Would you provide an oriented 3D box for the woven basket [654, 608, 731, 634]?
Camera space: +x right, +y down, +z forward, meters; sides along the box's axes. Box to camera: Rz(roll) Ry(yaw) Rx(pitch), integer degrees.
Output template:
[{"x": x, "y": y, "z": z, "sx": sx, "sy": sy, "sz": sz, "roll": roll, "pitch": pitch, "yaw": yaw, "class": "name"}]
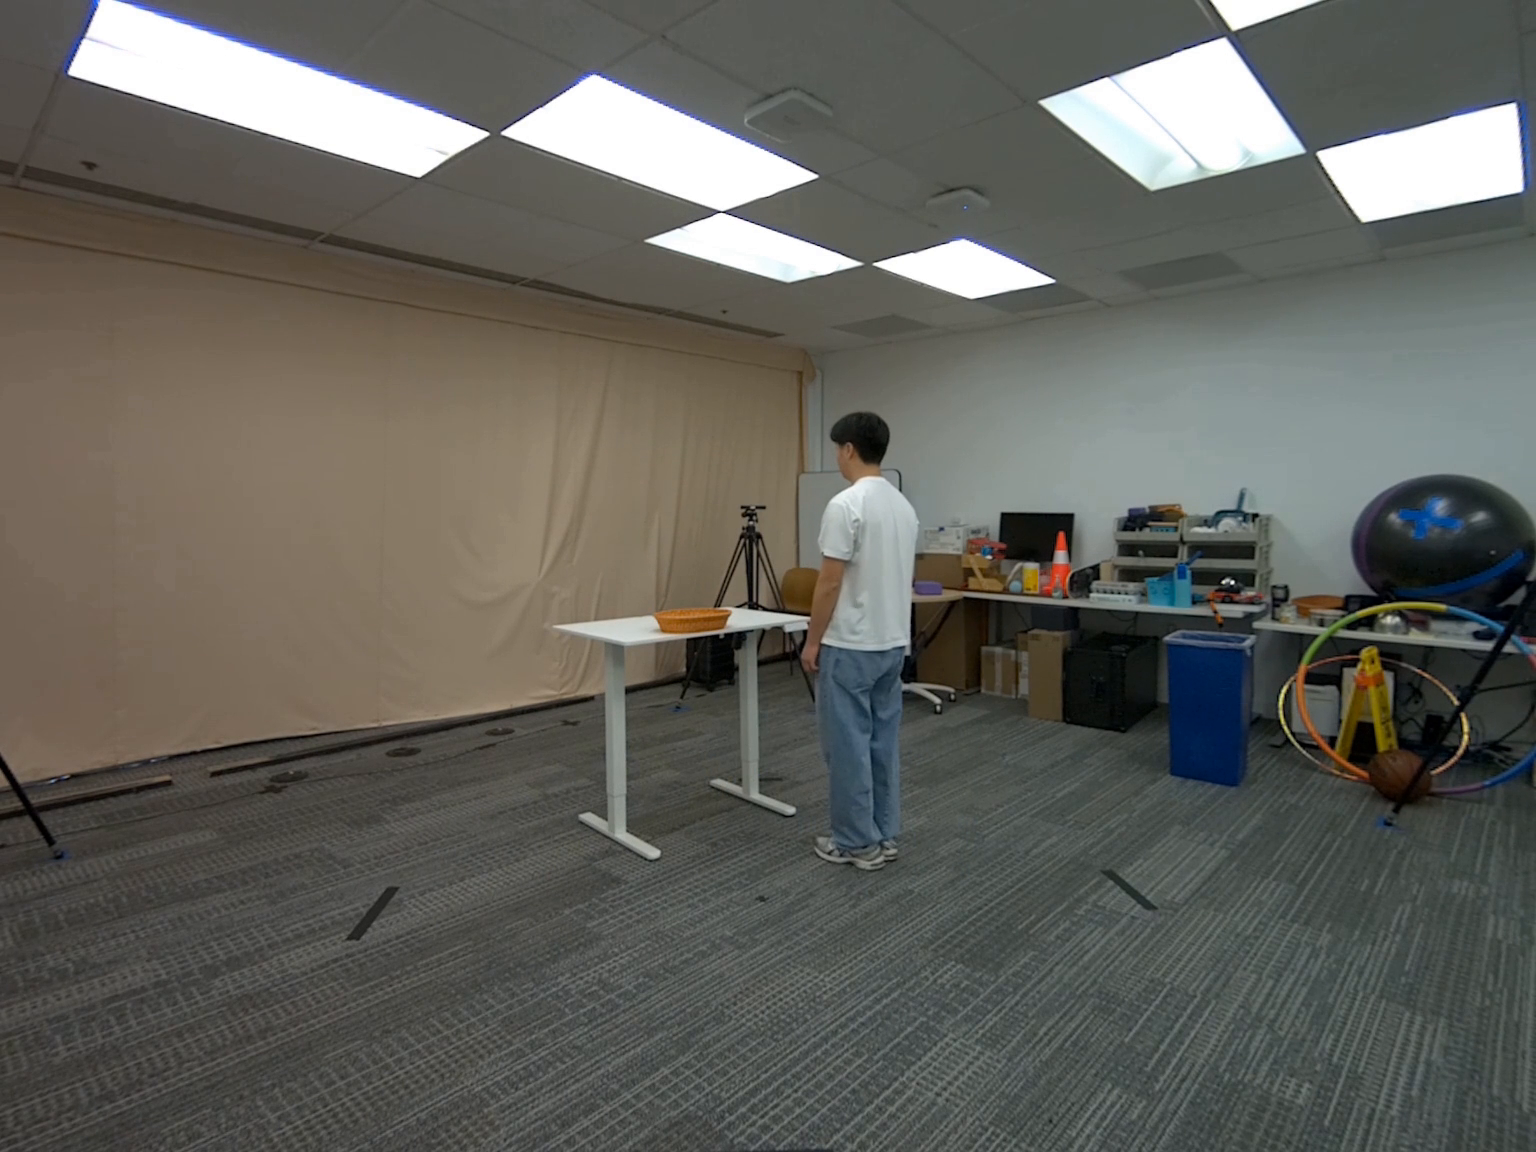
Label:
[{"x": -0.305, "y": 0.189, "z": 3.517, "sx": 0.341, "sy": 0.073, "sz": 0.260, "roll": -5, "pitch": 6, "yaw": -30, "class": "woven basket"}]
